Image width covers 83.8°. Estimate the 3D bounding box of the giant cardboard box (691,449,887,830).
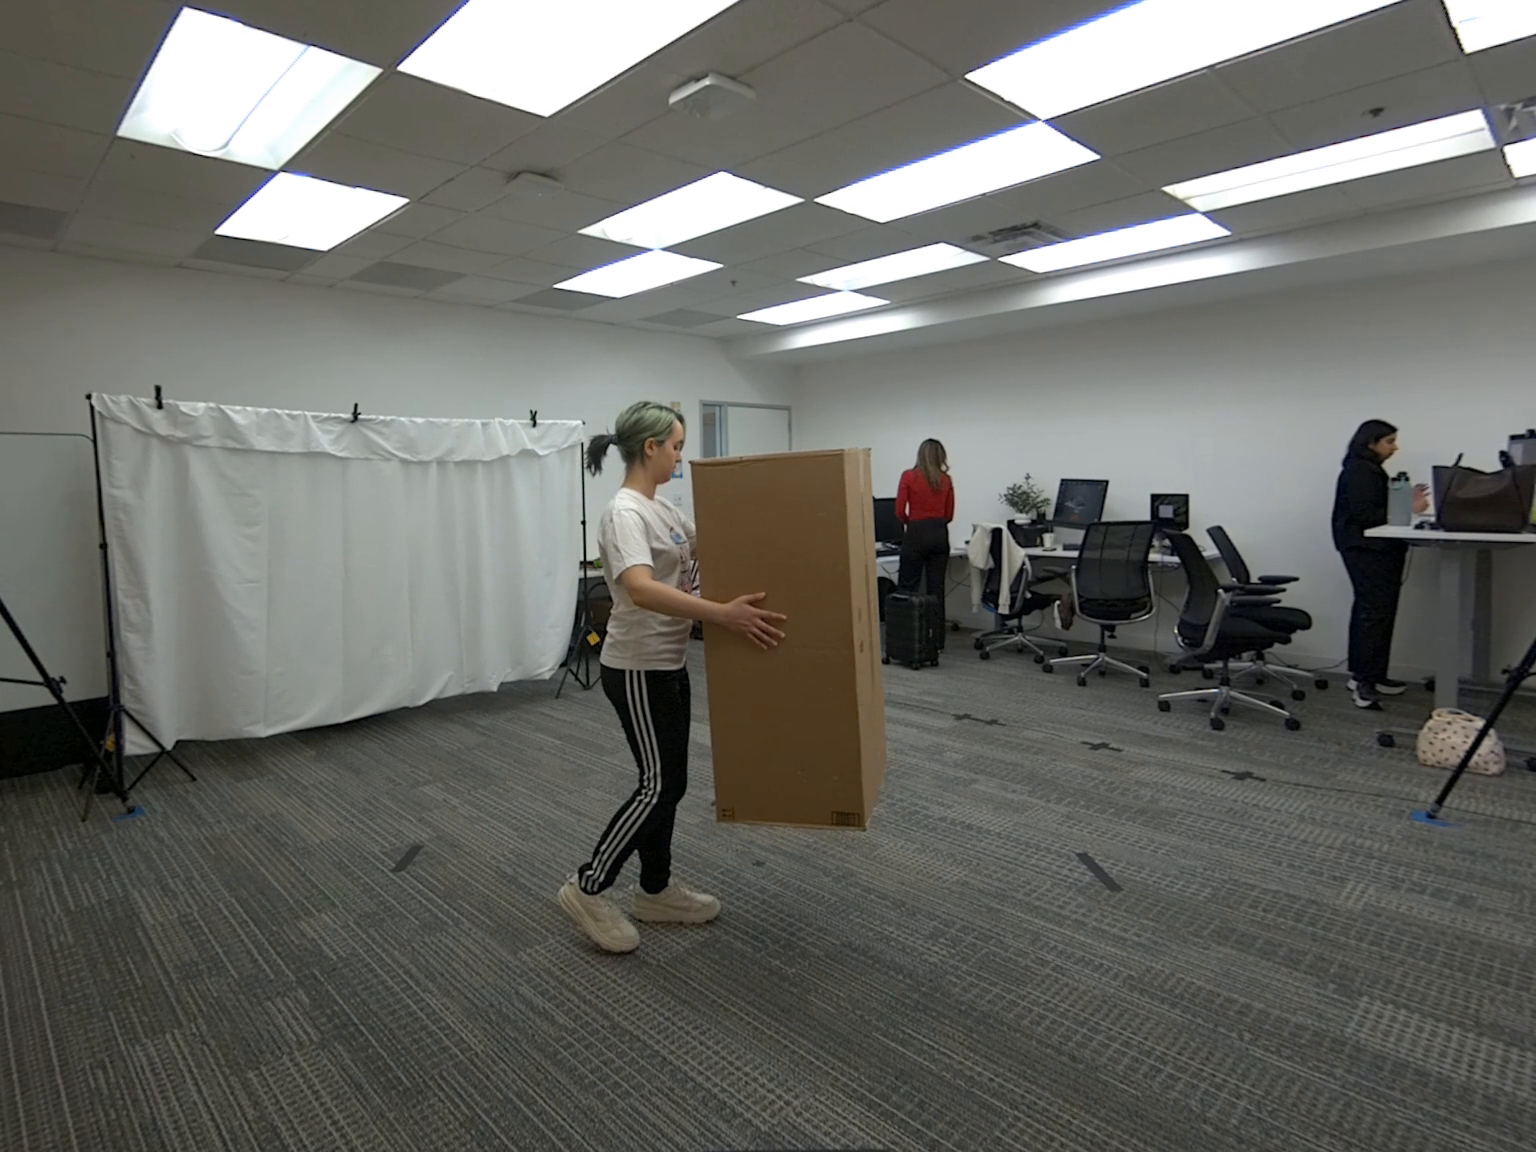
[{"bbox_3d":[0.089,0.141,2.568,0.432,1.020,0.572,-2,6,15],"label":"giant cardboard box"}]
